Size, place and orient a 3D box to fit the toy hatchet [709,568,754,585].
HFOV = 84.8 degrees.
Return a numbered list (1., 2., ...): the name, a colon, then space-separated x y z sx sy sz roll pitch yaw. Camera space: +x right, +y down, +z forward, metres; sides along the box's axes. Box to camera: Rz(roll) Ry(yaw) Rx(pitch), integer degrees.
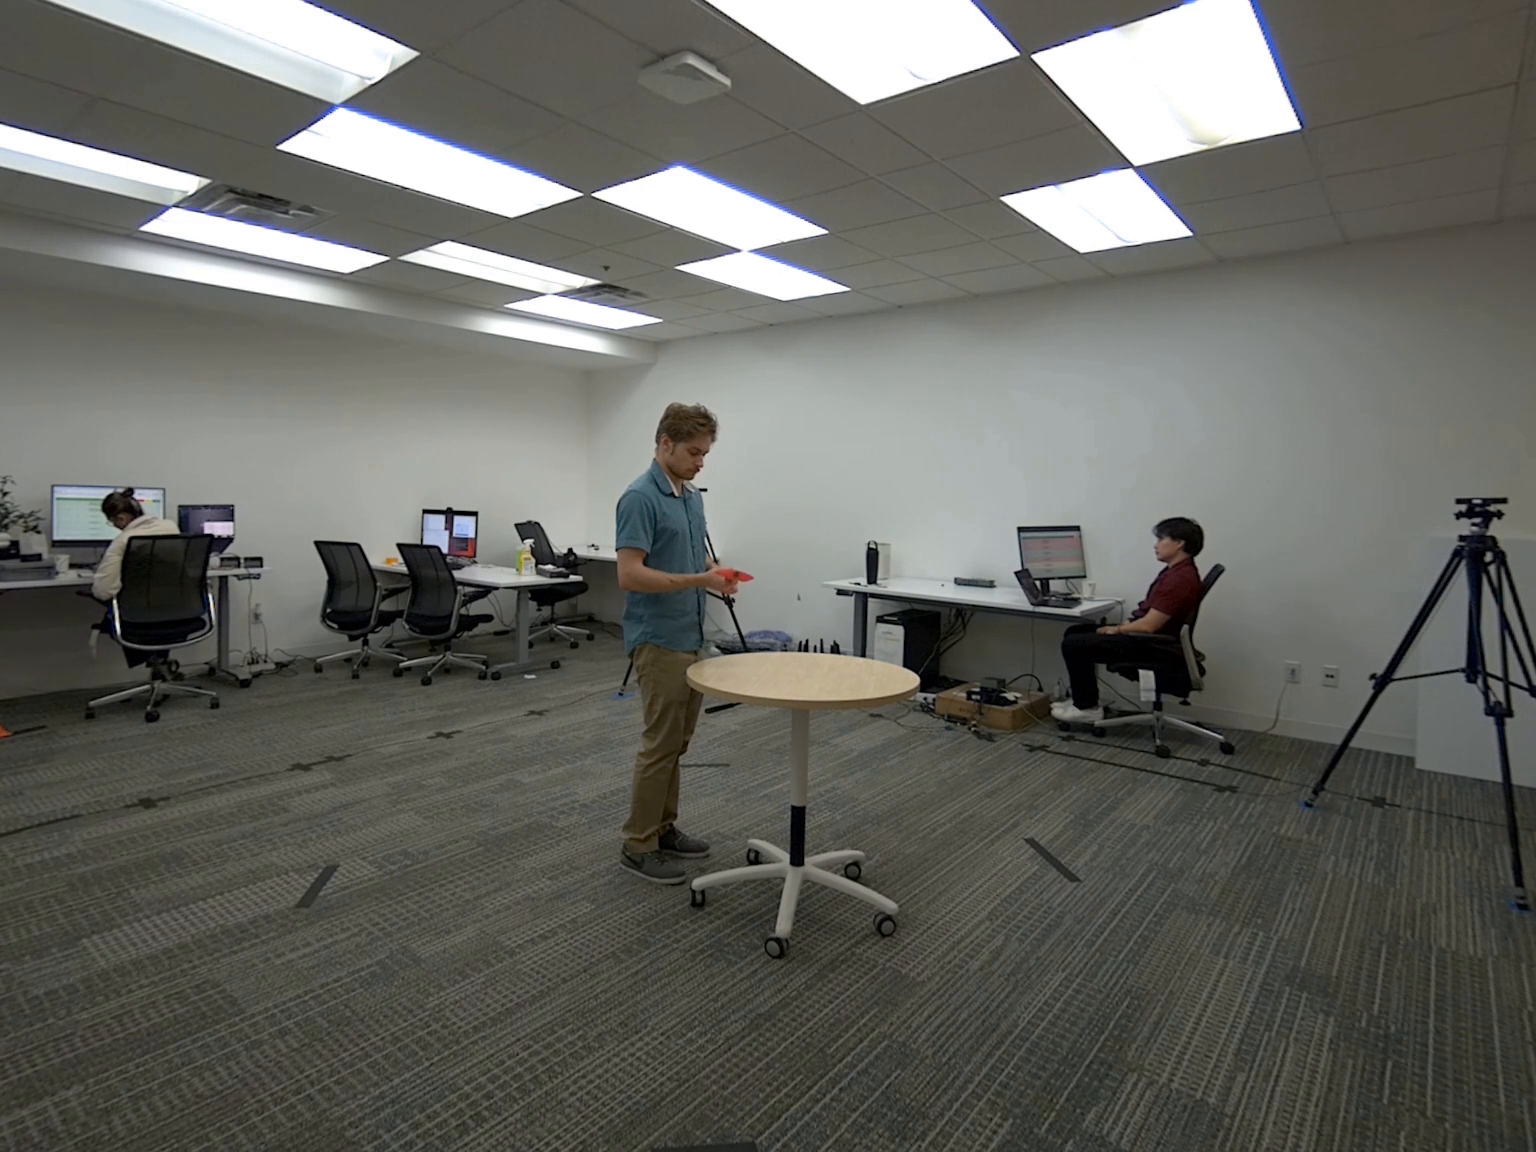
1. toy hatchet: -0.121 0.009 2.969 0.132 0.030 0.266 5 -8 3
